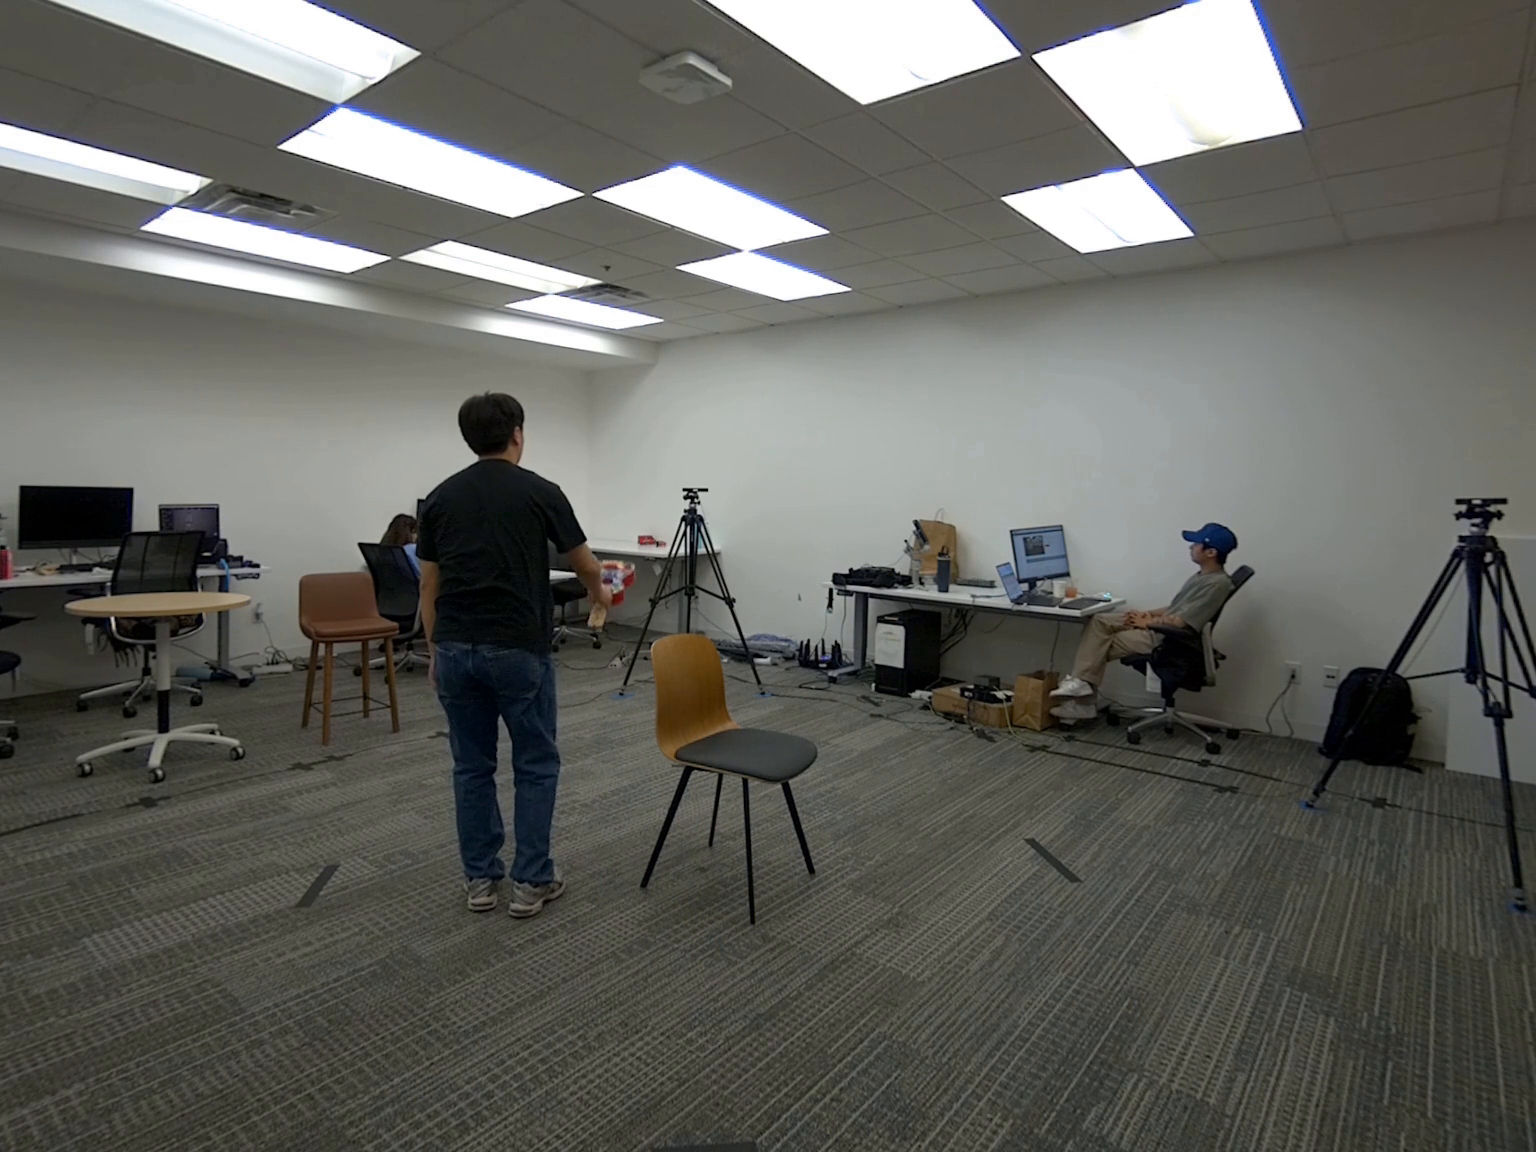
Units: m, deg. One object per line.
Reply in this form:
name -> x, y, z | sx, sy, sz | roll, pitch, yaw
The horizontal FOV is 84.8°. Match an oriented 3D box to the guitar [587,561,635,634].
guitar -> -0.684, 0.076, 3.377 | 0.194, 0.069, 0.506 | 5, 31, 4
